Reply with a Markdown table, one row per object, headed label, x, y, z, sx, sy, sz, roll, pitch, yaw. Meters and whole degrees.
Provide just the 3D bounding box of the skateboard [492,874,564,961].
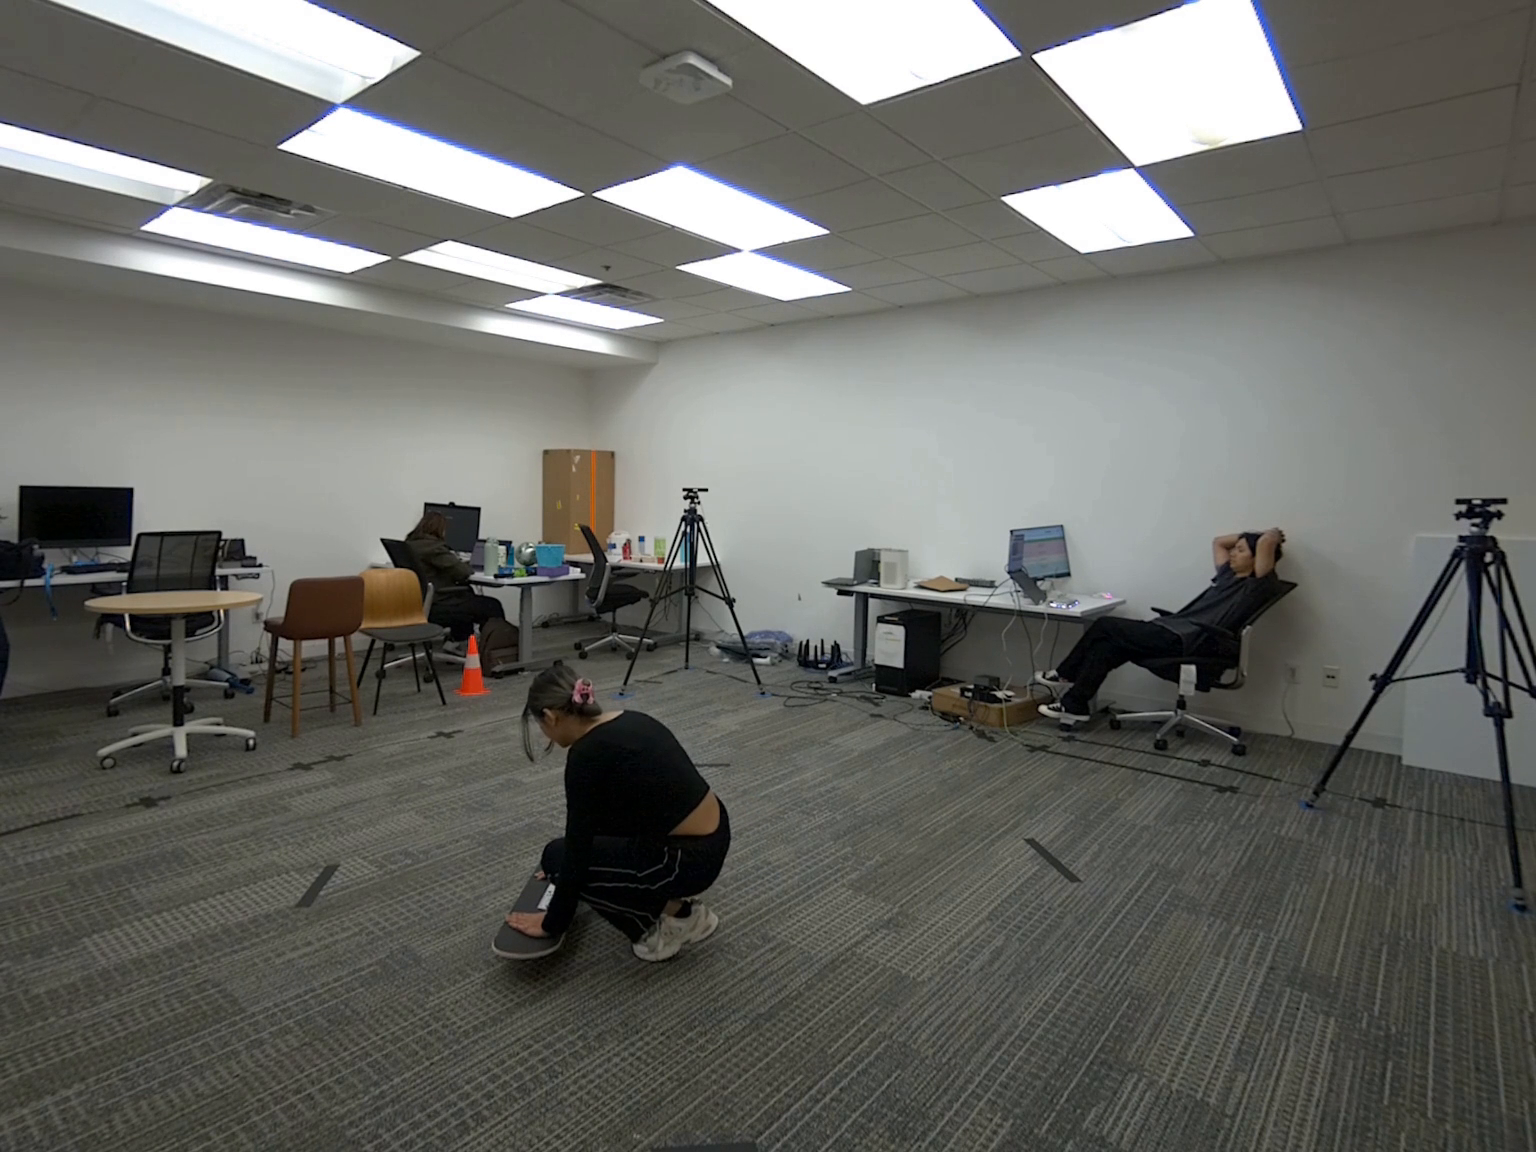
| label | x | y | z | sx | sy | sz | roll | pitch | yaw |
| --- | --- | --- | --- | --- | --- | --- | --- | --- | --- |
| skateboard | -0.698 | 1.036 | 2.728 | 0.194 | 0.110 | 0.787 | 2 | 6 | 0 |
